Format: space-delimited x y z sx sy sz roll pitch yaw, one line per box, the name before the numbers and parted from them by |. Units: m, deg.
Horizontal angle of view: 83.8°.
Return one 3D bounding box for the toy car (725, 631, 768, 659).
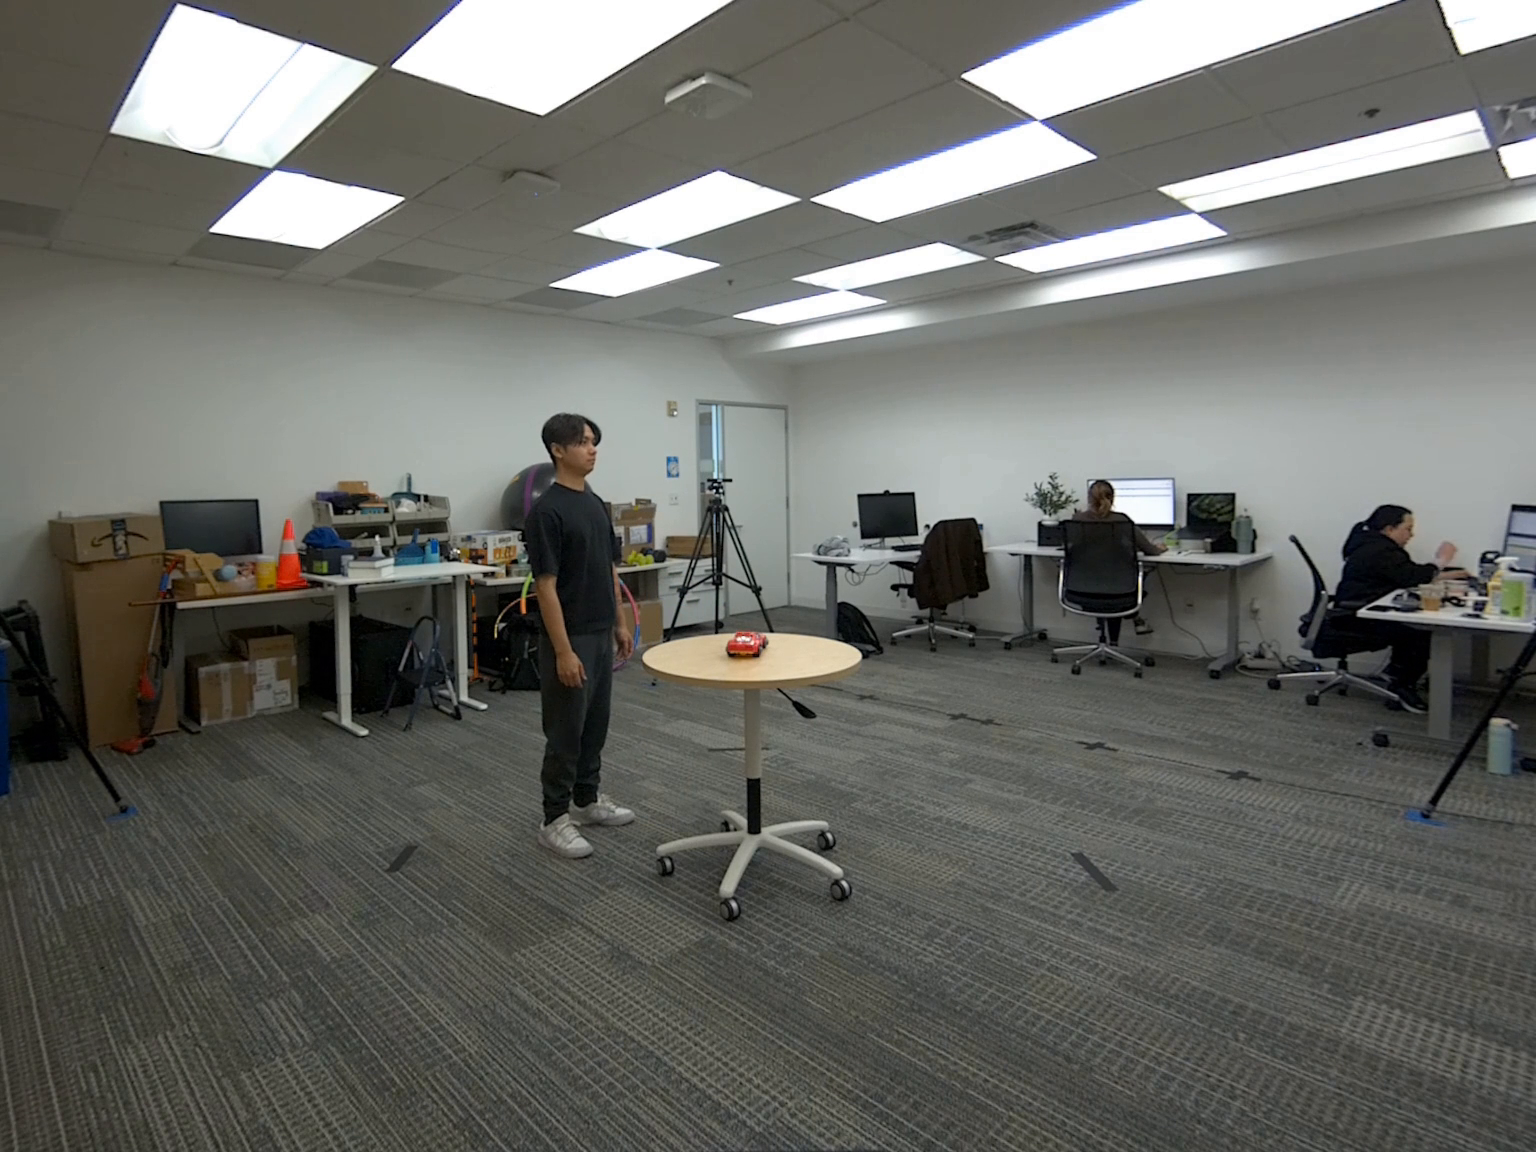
toy car | -0.075 0.241 3.011 0.132 0.084 0.250 1 -5 9
